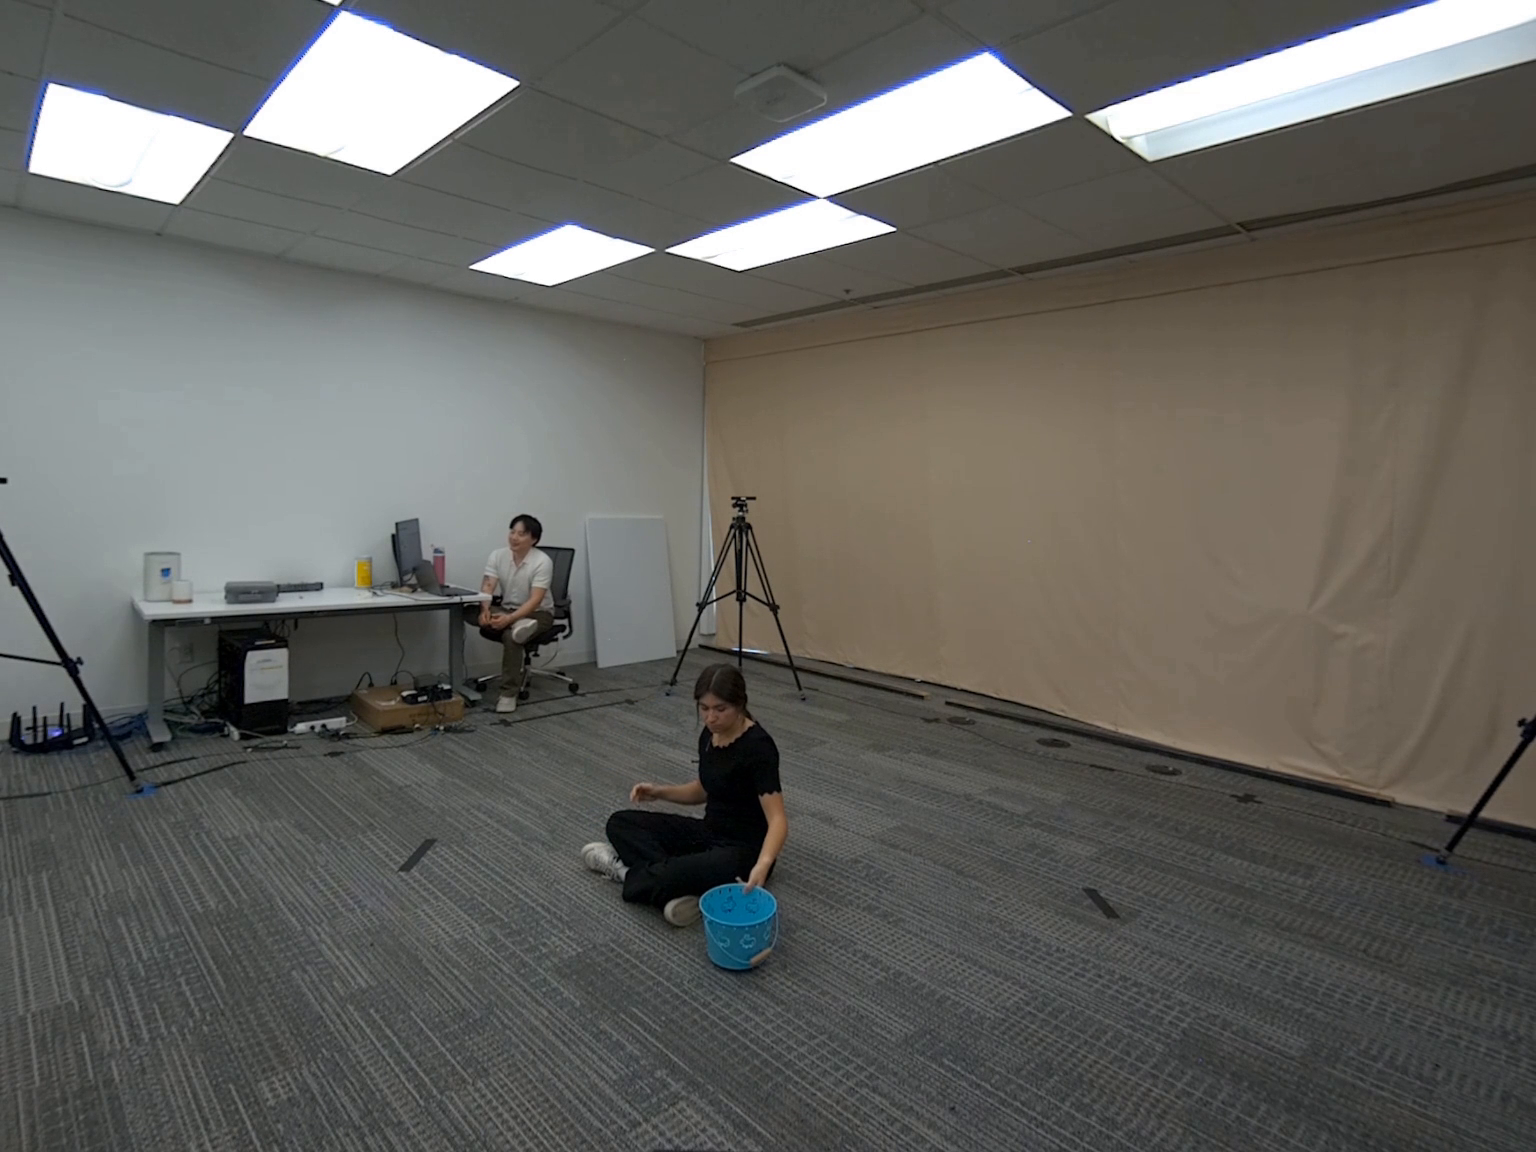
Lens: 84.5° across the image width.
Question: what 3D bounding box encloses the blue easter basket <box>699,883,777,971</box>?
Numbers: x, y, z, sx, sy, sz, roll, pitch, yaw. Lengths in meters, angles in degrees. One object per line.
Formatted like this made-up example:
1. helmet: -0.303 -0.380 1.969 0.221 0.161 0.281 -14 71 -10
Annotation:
1. blue easter basket: -0.106 1.058 2.522 0.243 0.155 0.245 0 7 -1
